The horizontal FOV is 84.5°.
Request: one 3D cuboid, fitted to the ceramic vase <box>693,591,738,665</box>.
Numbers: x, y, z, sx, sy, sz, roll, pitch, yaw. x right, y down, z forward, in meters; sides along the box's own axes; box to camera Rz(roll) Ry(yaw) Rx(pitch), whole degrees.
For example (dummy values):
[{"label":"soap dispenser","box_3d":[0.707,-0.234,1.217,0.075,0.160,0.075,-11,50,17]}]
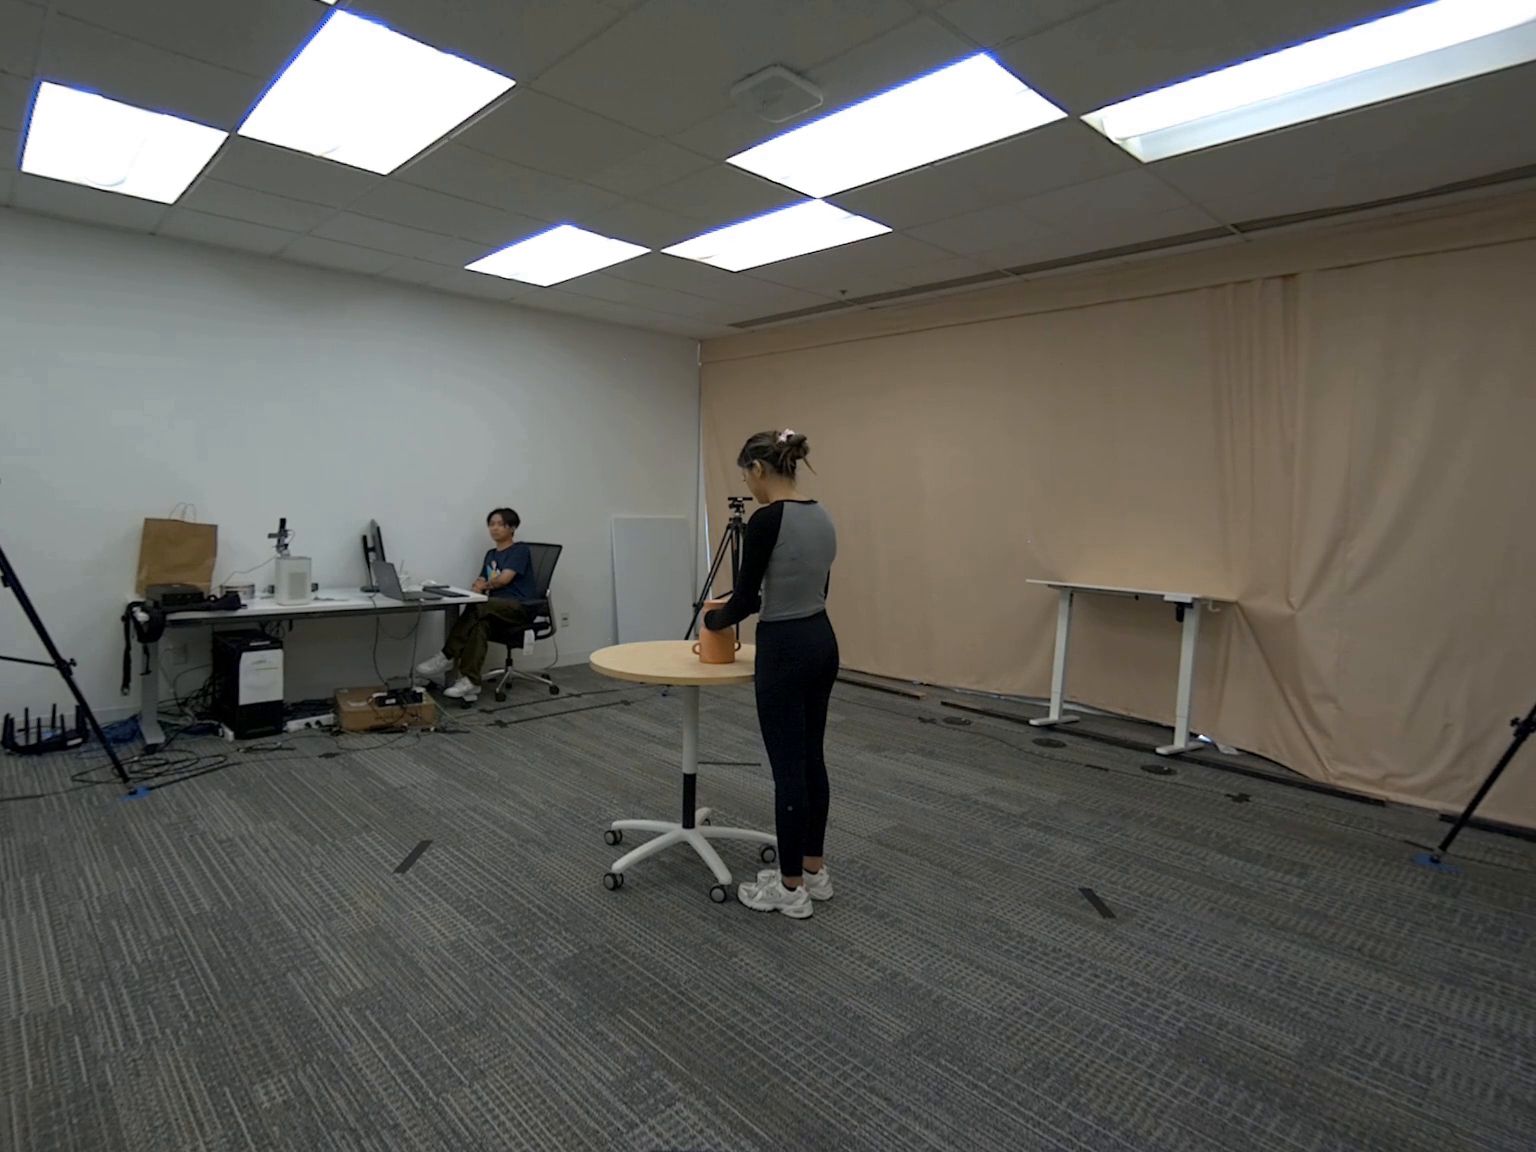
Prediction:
[{"label":"ceramic vase","box_3d":[-0.189,0.201,3.087,0.137,0.218,0.156,5,9,25]}]
